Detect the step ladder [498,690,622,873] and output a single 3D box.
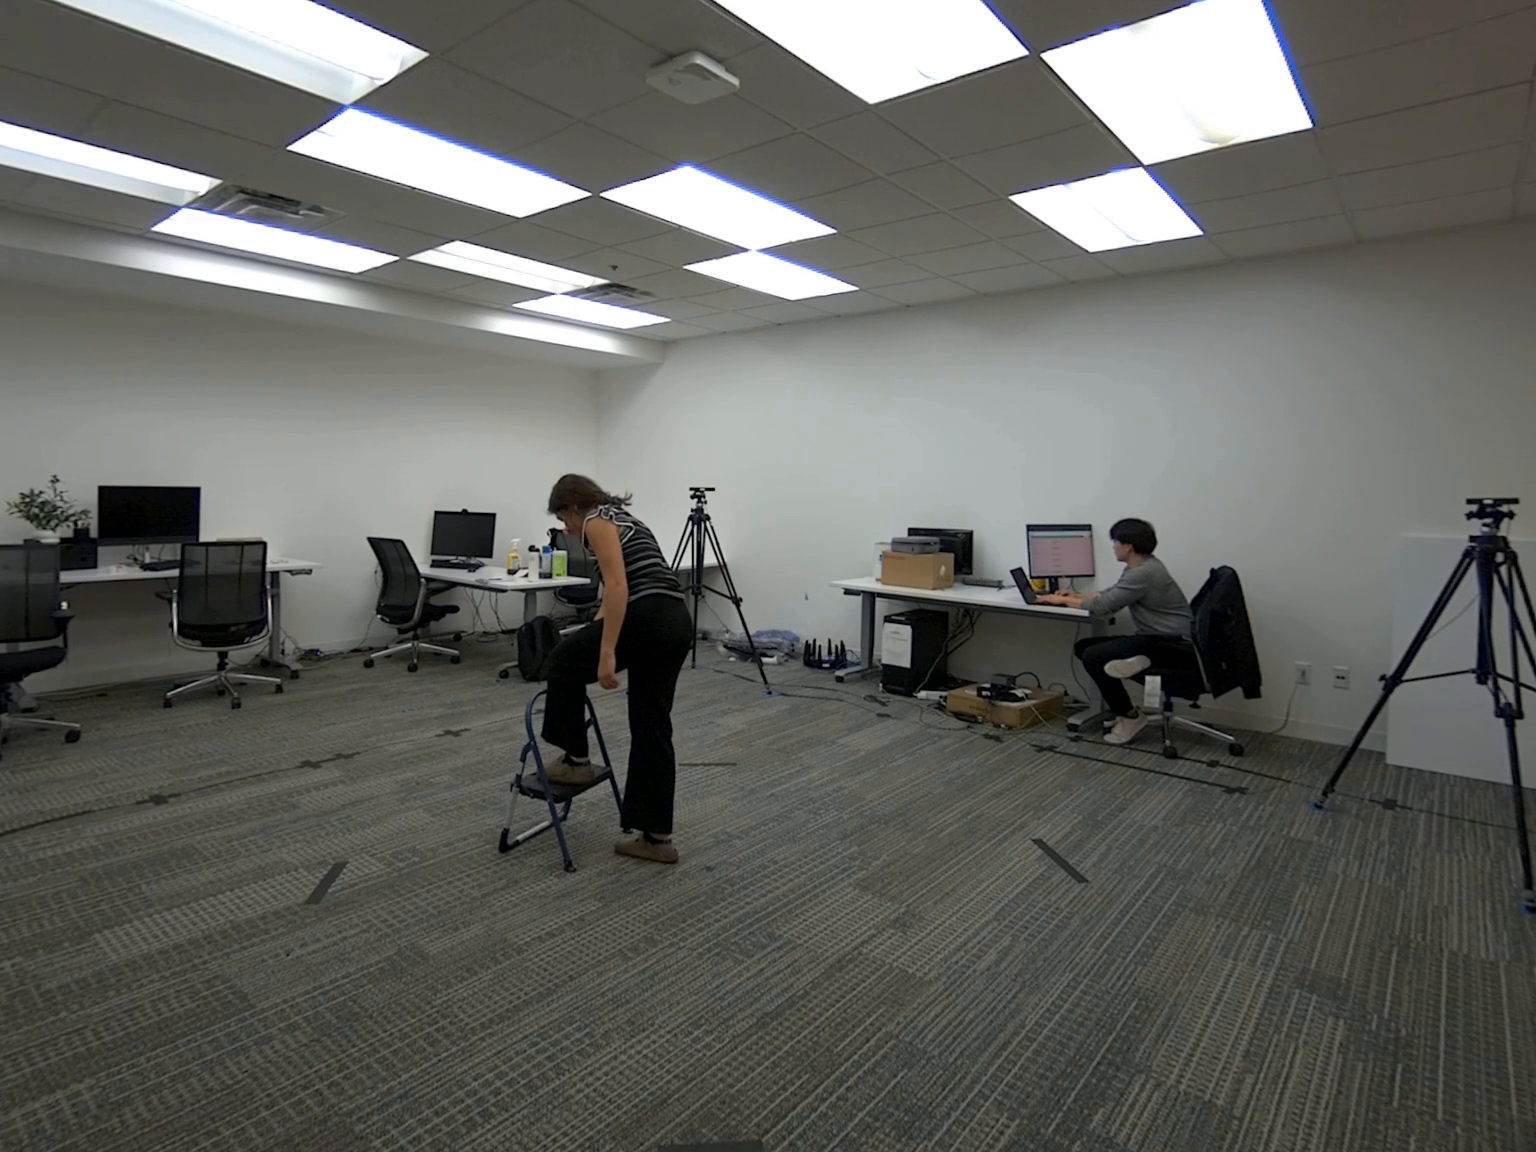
[{"bbox_3d":[-0.791,0.735,3.312,0.358,0.604,0.421,3,3,24],"label":"step ladder"}]
